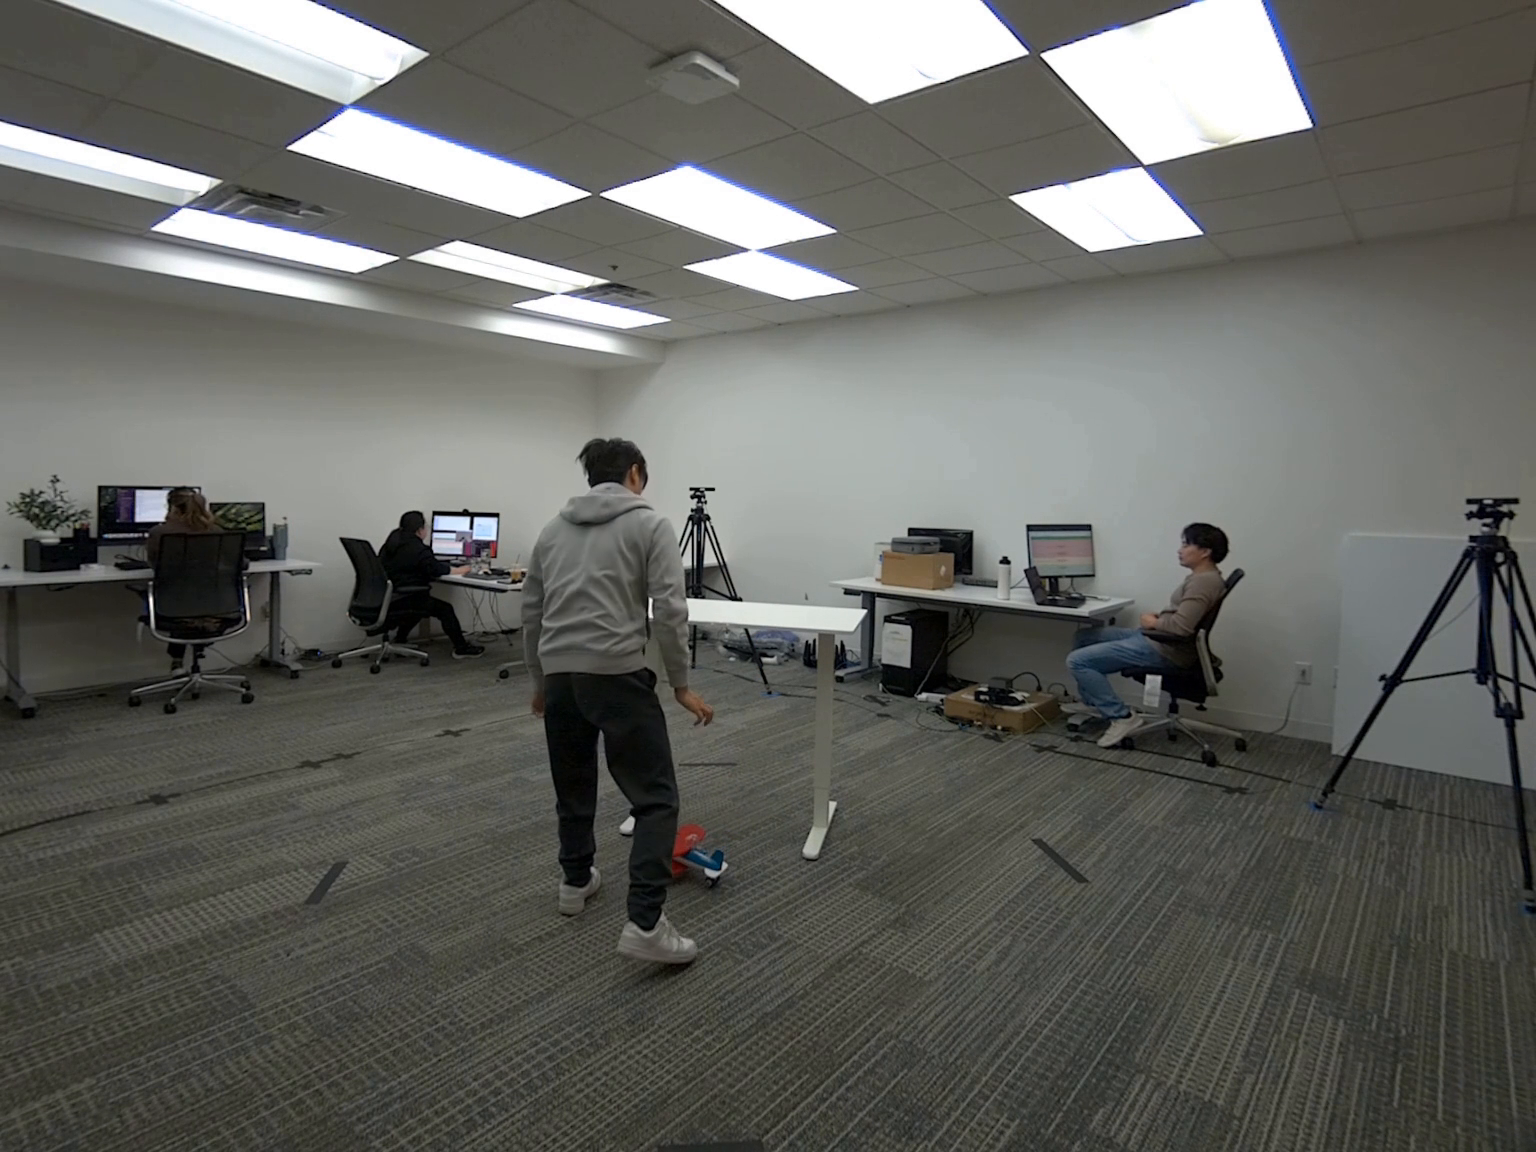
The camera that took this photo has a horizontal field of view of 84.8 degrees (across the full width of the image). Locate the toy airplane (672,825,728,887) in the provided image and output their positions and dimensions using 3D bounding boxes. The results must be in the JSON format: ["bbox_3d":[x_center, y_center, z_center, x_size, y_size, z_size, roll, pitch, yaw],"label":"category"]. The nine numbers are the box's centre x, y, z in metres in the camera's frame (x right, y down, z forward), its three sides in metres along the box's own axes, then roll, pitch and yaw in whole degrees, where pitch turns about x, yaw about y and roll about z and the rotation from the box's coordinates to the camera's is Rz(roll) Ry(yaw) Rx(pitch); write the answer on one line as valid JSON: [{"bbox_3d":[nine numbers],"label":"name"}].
[{"bbox_3d":[-0.279,0.999,3.038,0.258,0.156,0.253,-1,5,-4],"label":"toy airplane"}]
